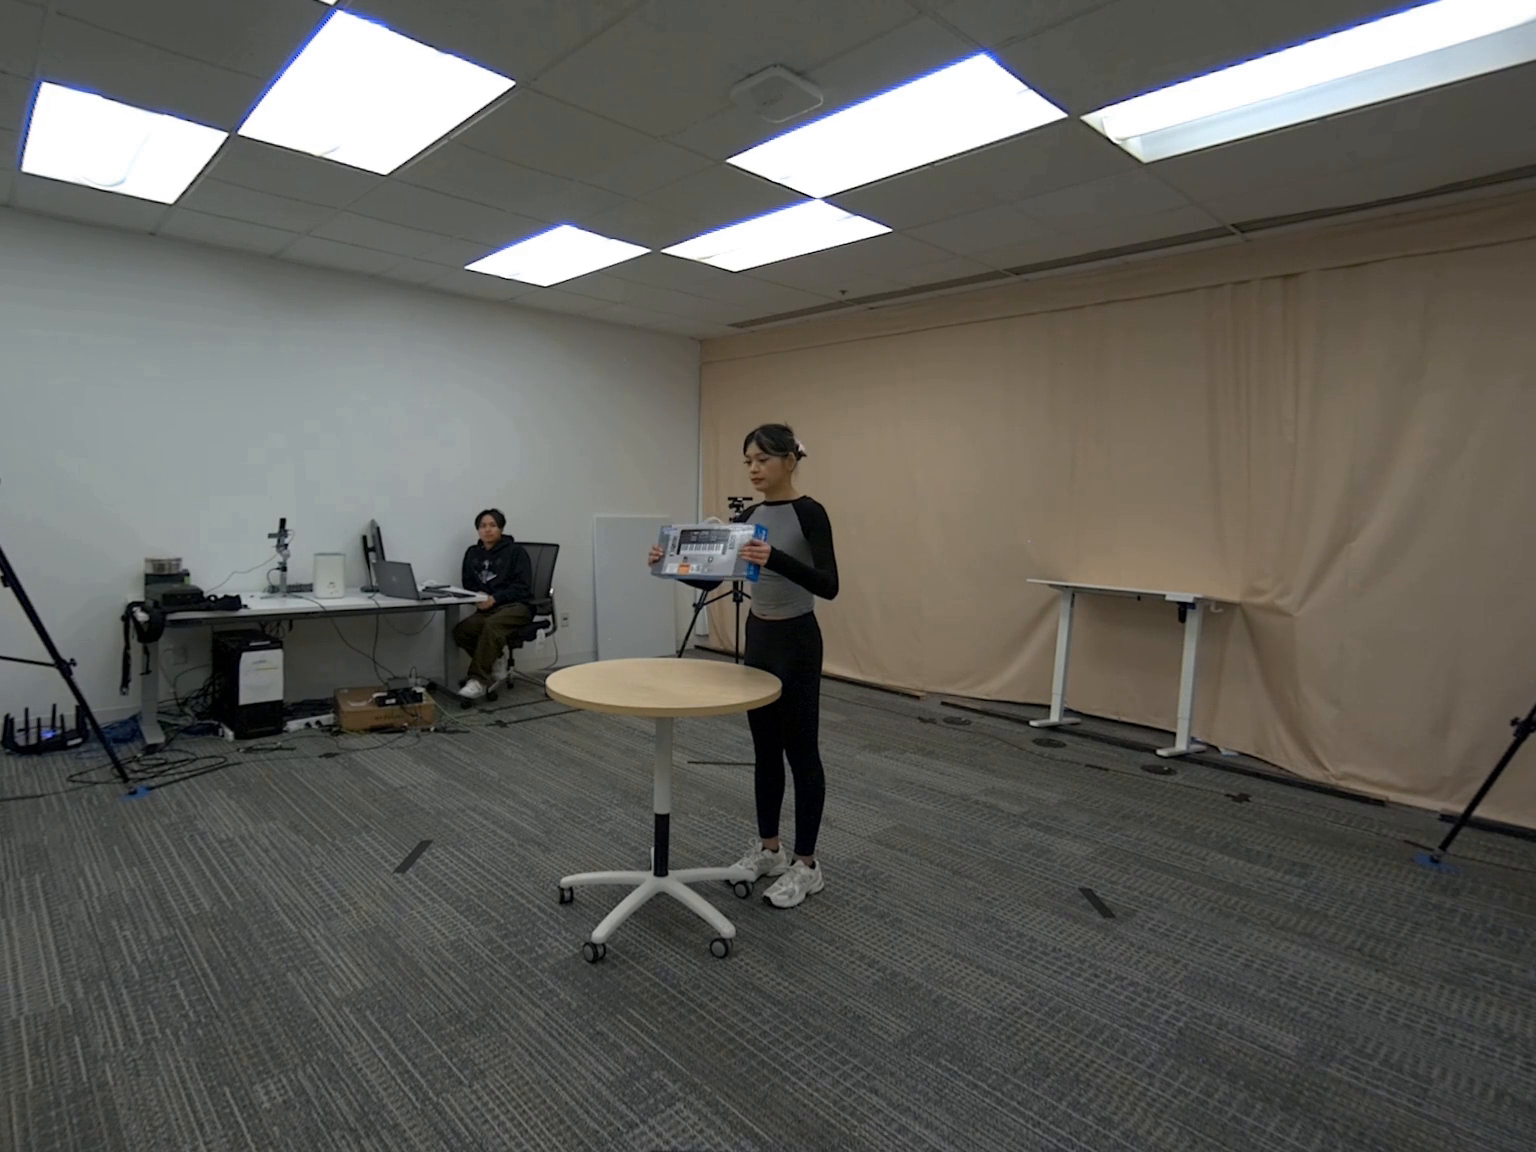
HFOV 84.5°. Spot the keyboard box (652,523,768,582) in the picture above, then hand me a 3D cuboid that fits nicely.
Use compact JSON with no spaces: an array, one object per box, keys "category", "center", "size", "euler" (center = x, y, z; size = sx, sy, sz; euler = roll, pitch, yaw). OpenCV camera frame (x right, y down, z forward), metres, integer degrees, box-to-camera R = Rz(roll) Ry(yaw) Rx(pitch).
[{"category":"keyboard box","center":[-0.196,-0.068,2.704],"size":[0.447,0.177,0.057],"euler":[1,-16,40]}]
